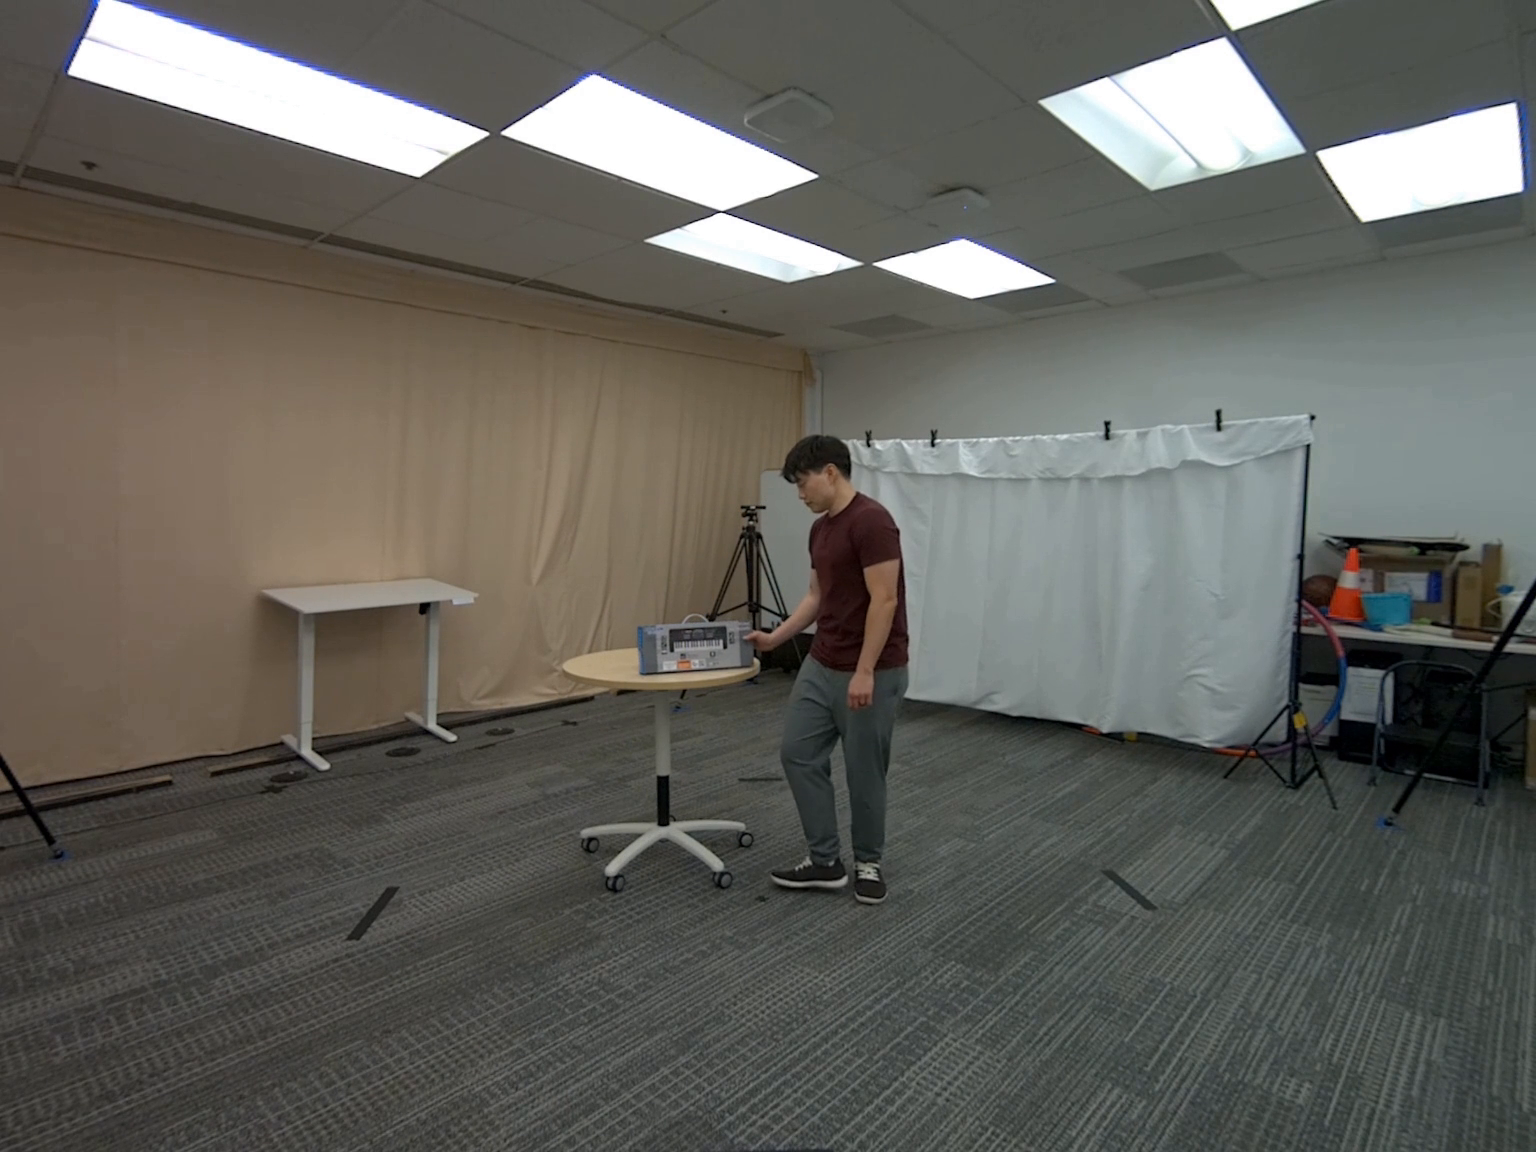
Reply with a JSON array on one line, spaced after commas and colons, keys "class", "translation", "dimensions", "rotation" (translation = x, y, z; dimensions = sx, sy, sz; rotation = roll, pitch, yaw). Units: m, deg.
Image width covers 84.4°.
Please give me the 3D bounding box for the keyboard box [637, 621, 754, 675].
[{"class": "keyboard box", "translation": [-0.265, 0.268, 3.136], "dimensions": [0.428, 0.176, 0.060], "rotation": [-2, -4, -20]}]
